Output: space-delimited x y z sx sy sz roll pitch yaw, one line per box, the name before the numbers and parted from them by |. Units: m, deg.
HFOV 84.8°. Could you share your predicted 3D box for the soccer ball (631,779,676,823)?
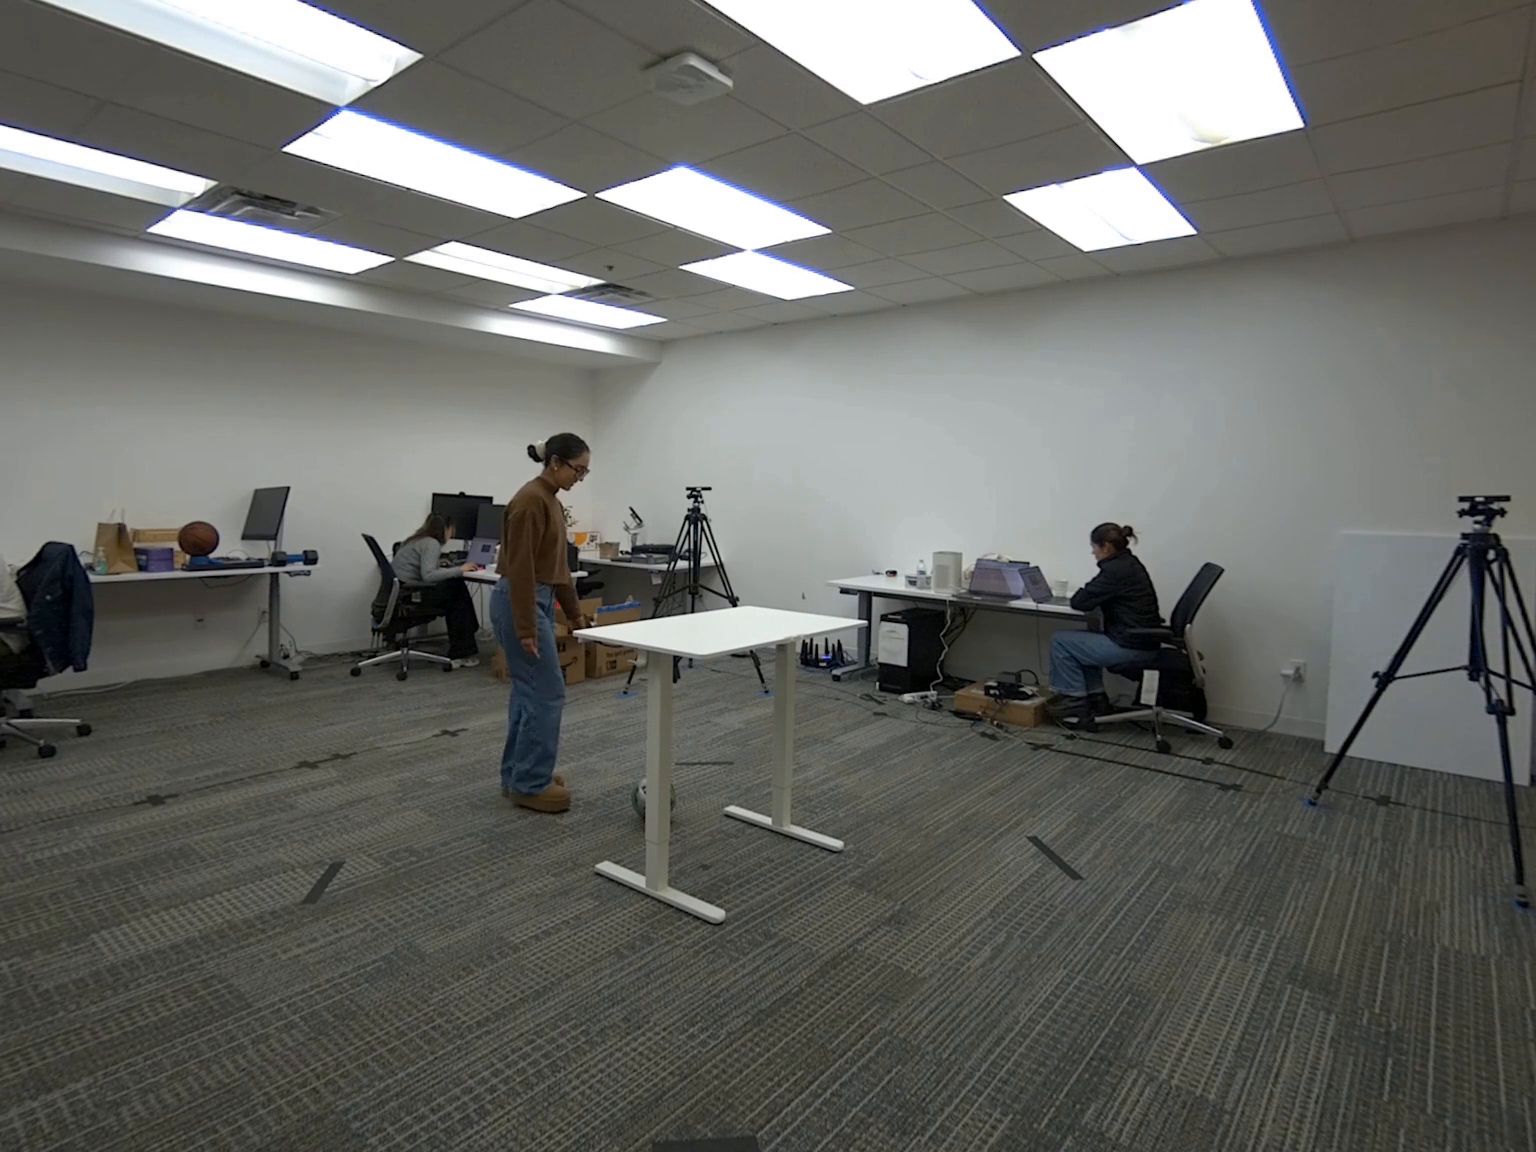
soccer ball | -0.493 0.922 3.562 0.187 0.187 0.188 1 4 -2
